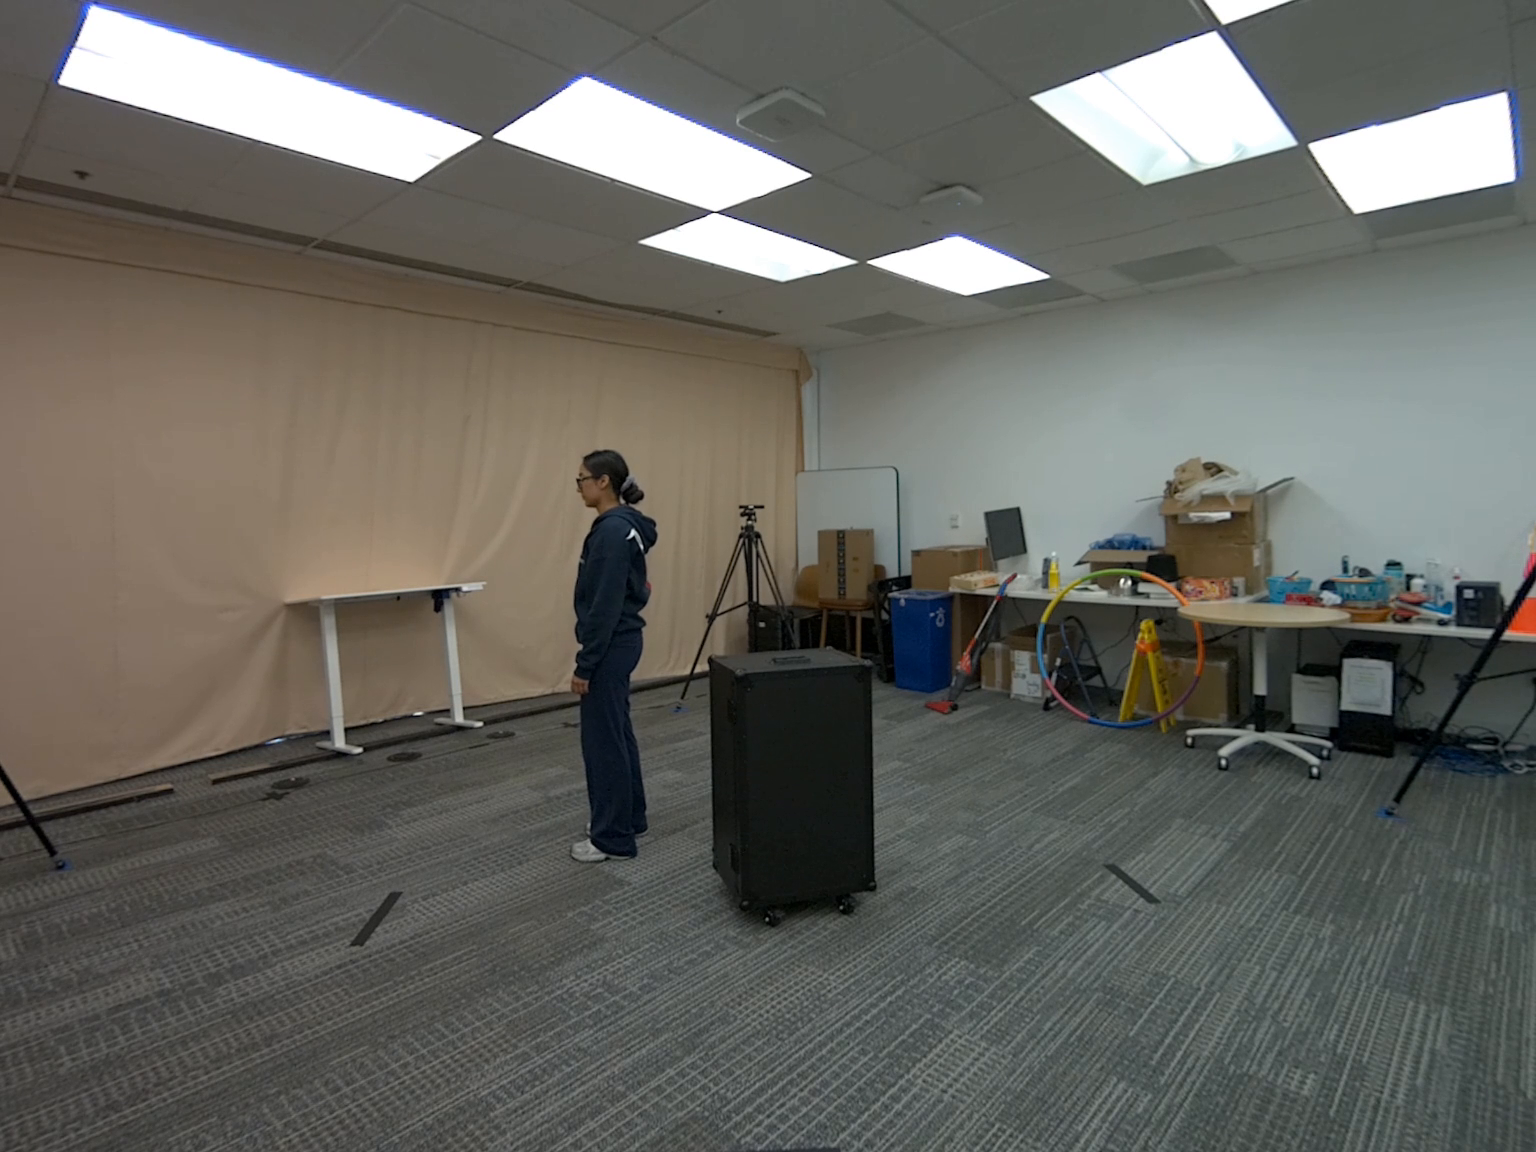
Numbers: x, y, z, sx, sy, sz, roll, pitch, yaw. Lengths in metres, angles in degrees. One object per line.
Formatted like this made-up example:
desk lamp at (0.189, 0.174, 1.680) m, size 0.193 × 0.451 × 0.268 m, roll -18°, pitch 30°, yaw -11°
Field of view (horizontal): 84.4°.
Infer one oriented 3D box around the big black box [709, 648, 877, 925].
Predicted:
big black box at (0.073, 0.717, 2.968) m, size 0.513 × 0.860 × 0.403 m, roll -2°, pitch 2°, yaw -16°
